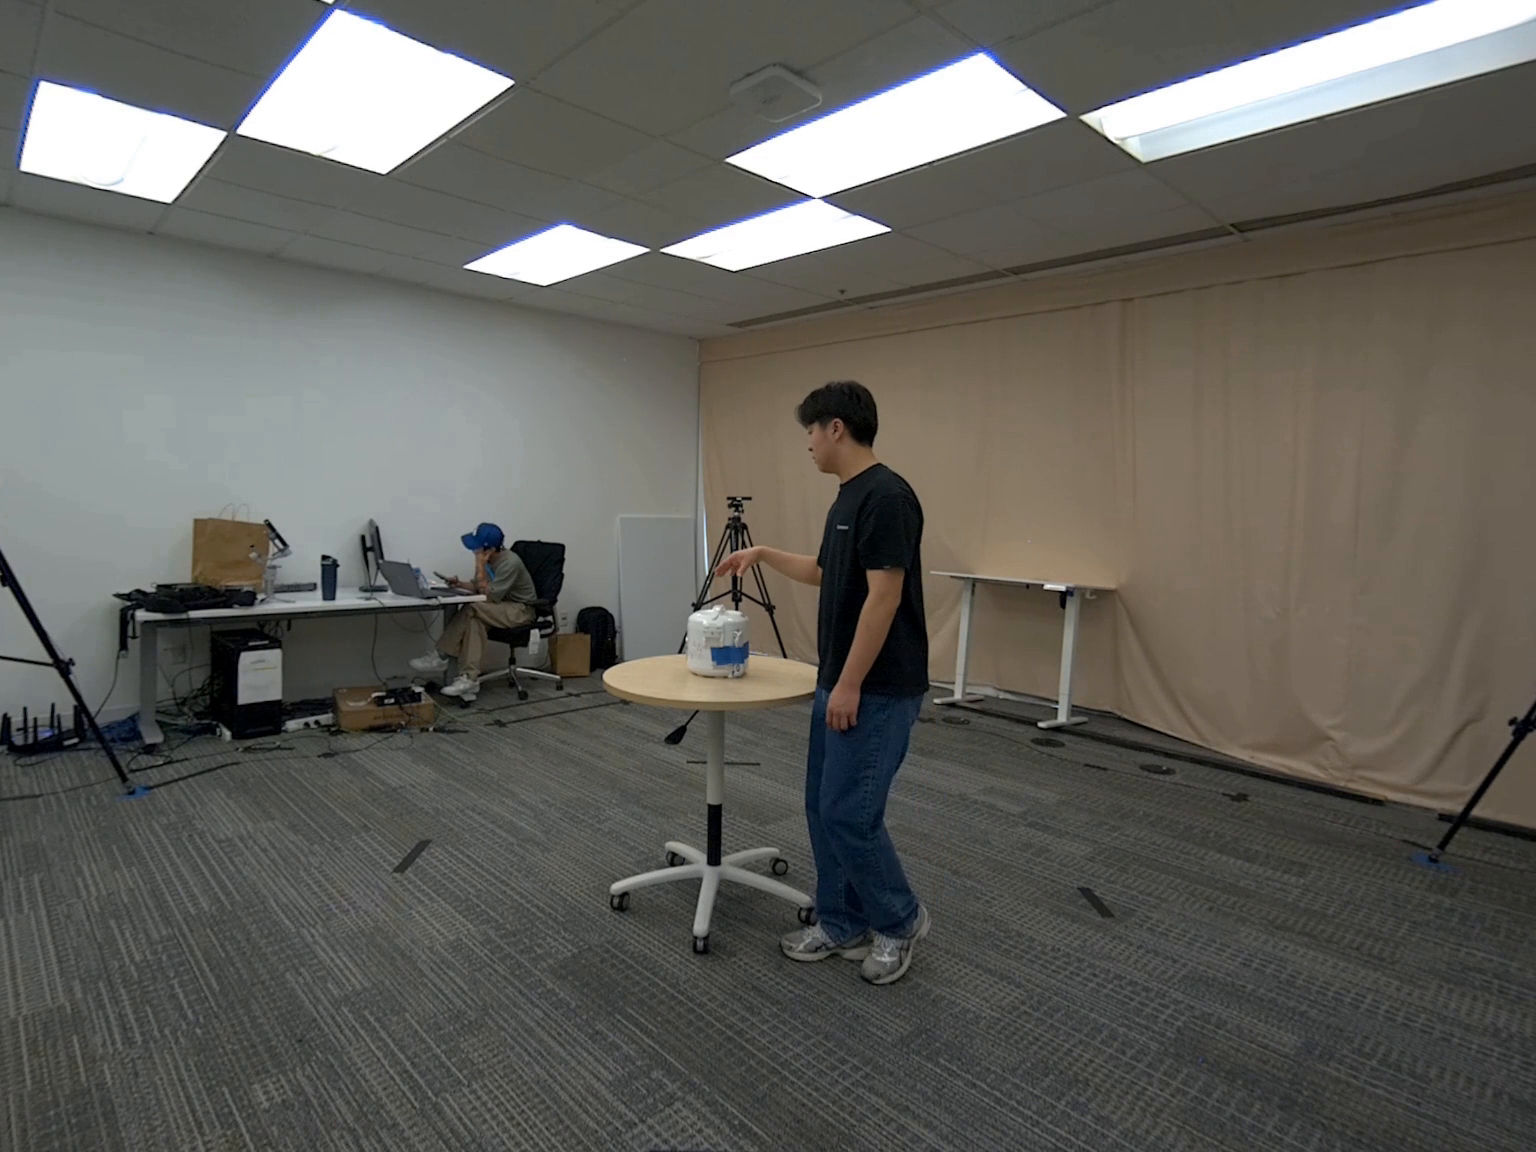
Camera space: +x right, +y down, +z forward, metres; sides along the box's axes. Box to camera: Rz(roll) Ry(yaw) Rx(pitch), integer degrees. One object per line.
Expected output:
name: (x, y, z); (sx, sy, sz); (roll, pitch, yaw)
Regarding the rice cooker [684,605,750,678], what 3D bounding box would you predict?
rice cooker: (-0.173, 0.216, 2.861); (0.219, 0.232, 0.219); (2, 5, 8)
